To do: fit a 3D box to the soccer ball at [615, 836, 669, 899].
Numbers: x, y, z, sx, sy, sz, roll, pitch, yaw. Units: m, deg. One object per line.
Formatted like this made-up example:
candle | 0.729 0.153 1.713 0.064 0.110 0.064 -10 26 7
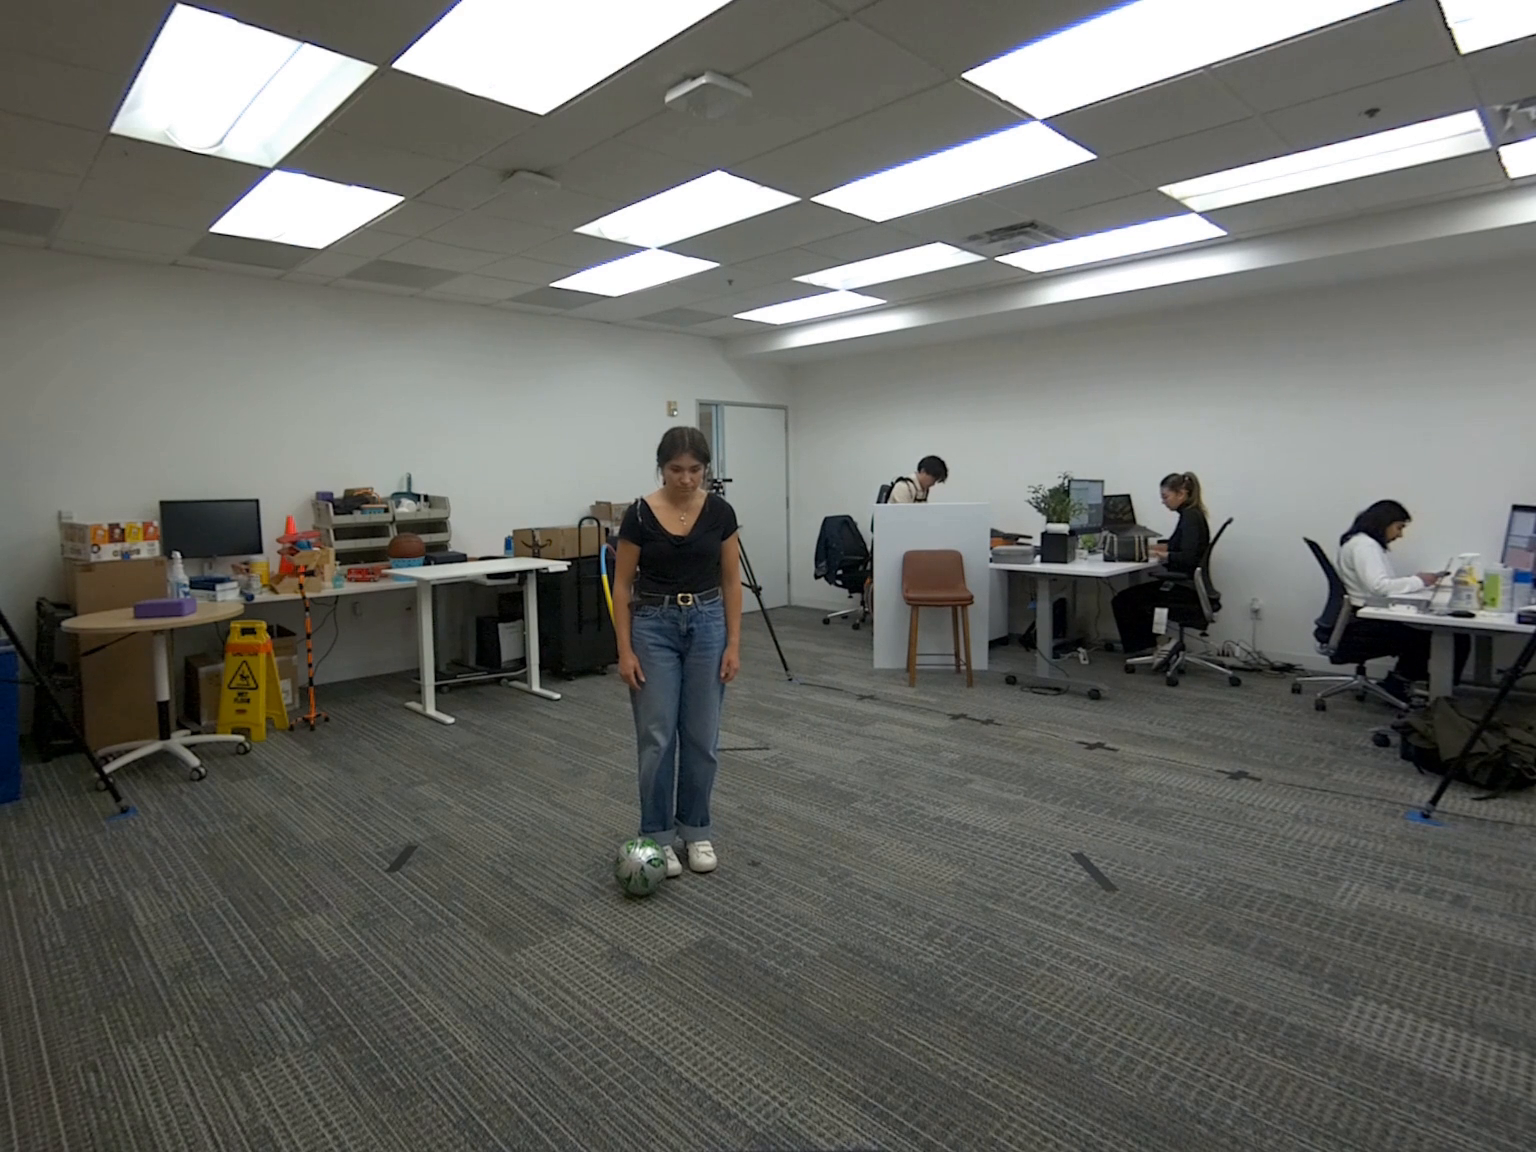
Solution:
soccer ball | -0.431 0.993 2.900 0.187 0.187 0.188 -1 5 -2
